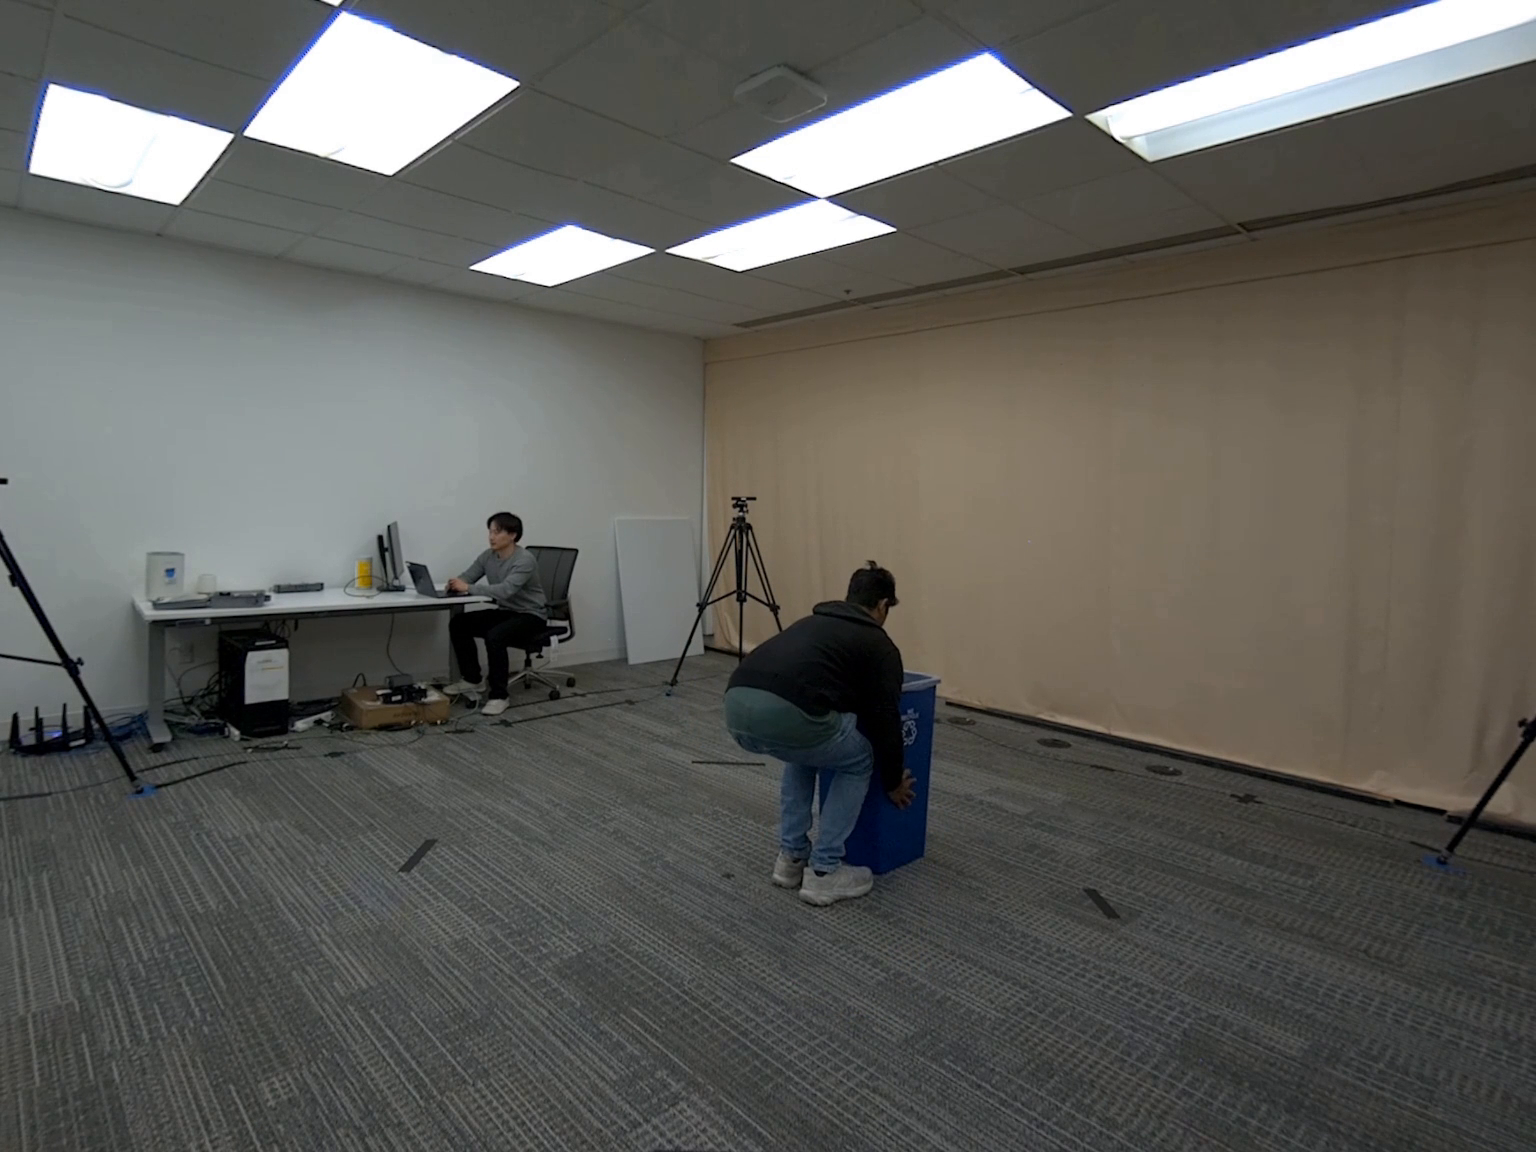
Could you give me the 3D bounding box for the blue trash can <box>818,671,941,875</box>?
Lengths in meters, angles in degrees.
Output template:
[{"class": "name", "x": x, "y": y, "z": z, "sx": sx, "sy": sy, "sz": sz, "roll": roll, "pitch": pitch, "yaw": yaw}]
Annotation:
[{"class": "blue trash can", "x": 0.421, "y": 0.739, "z": 3.329, "sx": 0.365, "sy": 0.712, "sz": 0.388, "roll": -2, "pitch": 5, "yaw": -44}]
